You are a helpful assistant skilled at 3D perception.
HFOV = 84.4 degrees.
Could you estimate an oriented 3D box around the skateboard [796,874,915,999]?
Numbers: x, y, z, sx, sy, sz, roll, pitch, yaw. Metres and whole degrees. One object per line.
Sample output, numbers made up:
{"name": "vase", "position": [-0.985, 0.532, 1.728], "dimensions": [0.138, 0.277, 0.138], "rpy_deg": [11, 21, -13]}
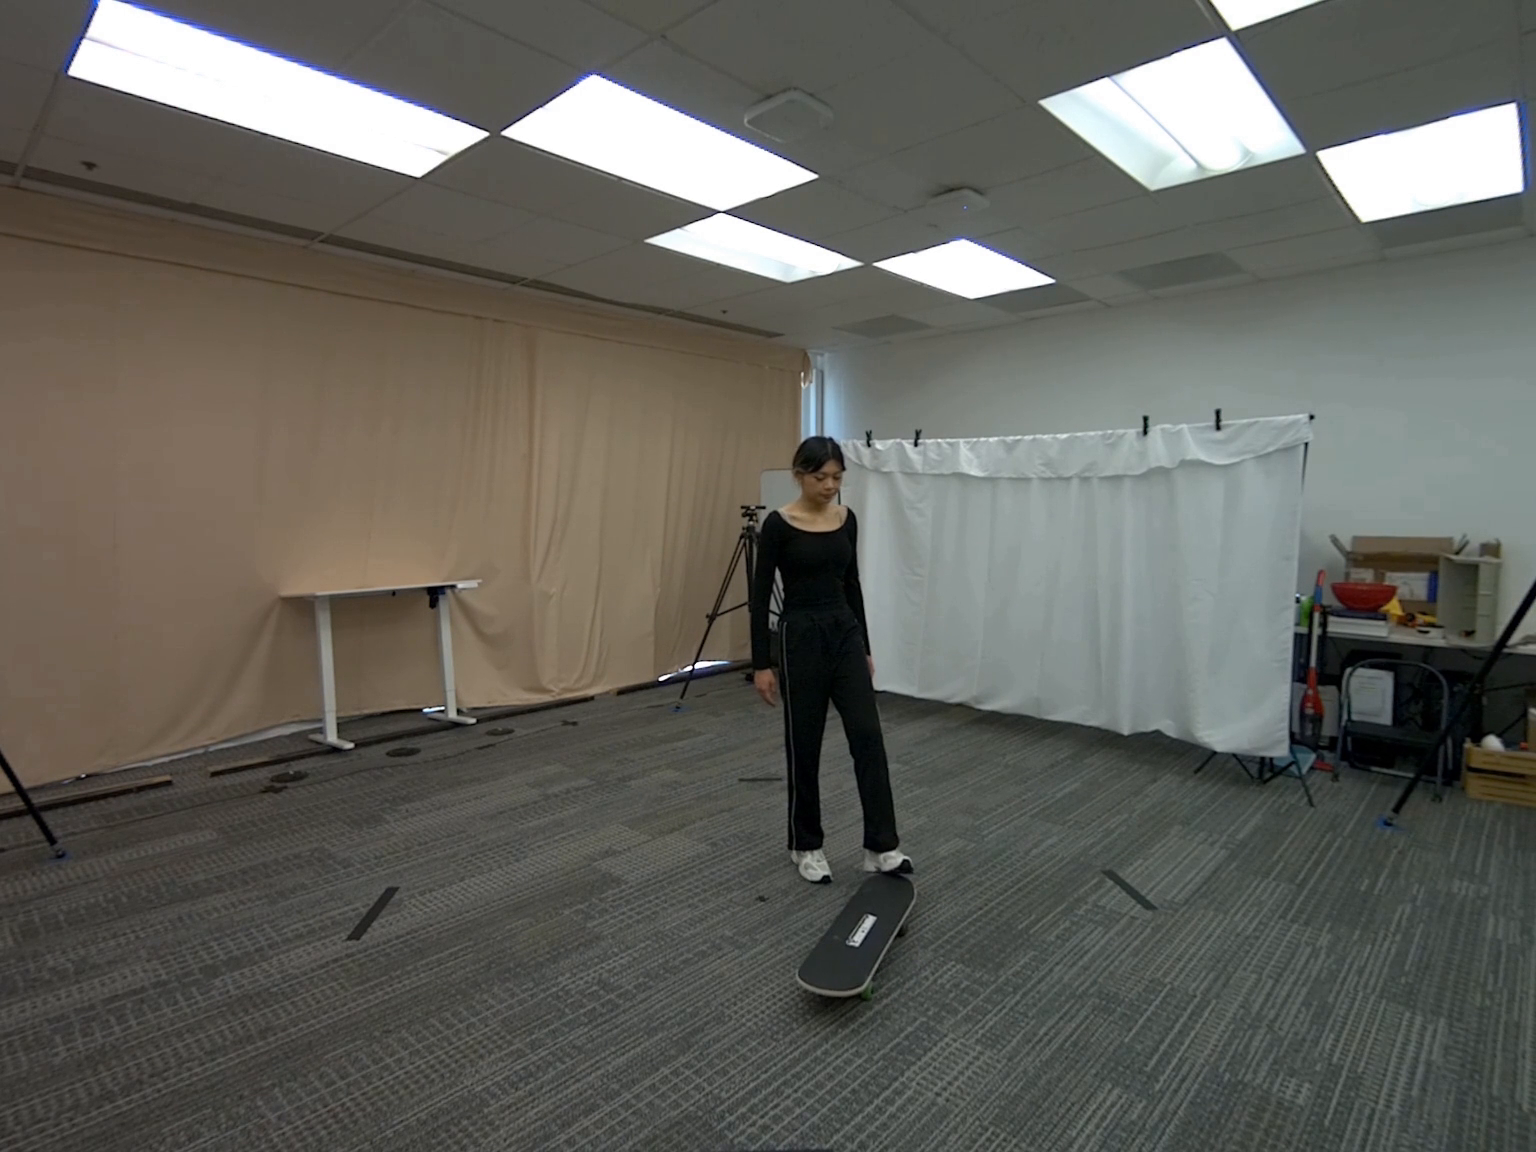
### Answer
{"name": "skateboard", "position": [0.296, 1.119, 2.583], "dimensions": [0.198, 0.110, 0.768], "rpy_deg": [2, 4, 23]}
